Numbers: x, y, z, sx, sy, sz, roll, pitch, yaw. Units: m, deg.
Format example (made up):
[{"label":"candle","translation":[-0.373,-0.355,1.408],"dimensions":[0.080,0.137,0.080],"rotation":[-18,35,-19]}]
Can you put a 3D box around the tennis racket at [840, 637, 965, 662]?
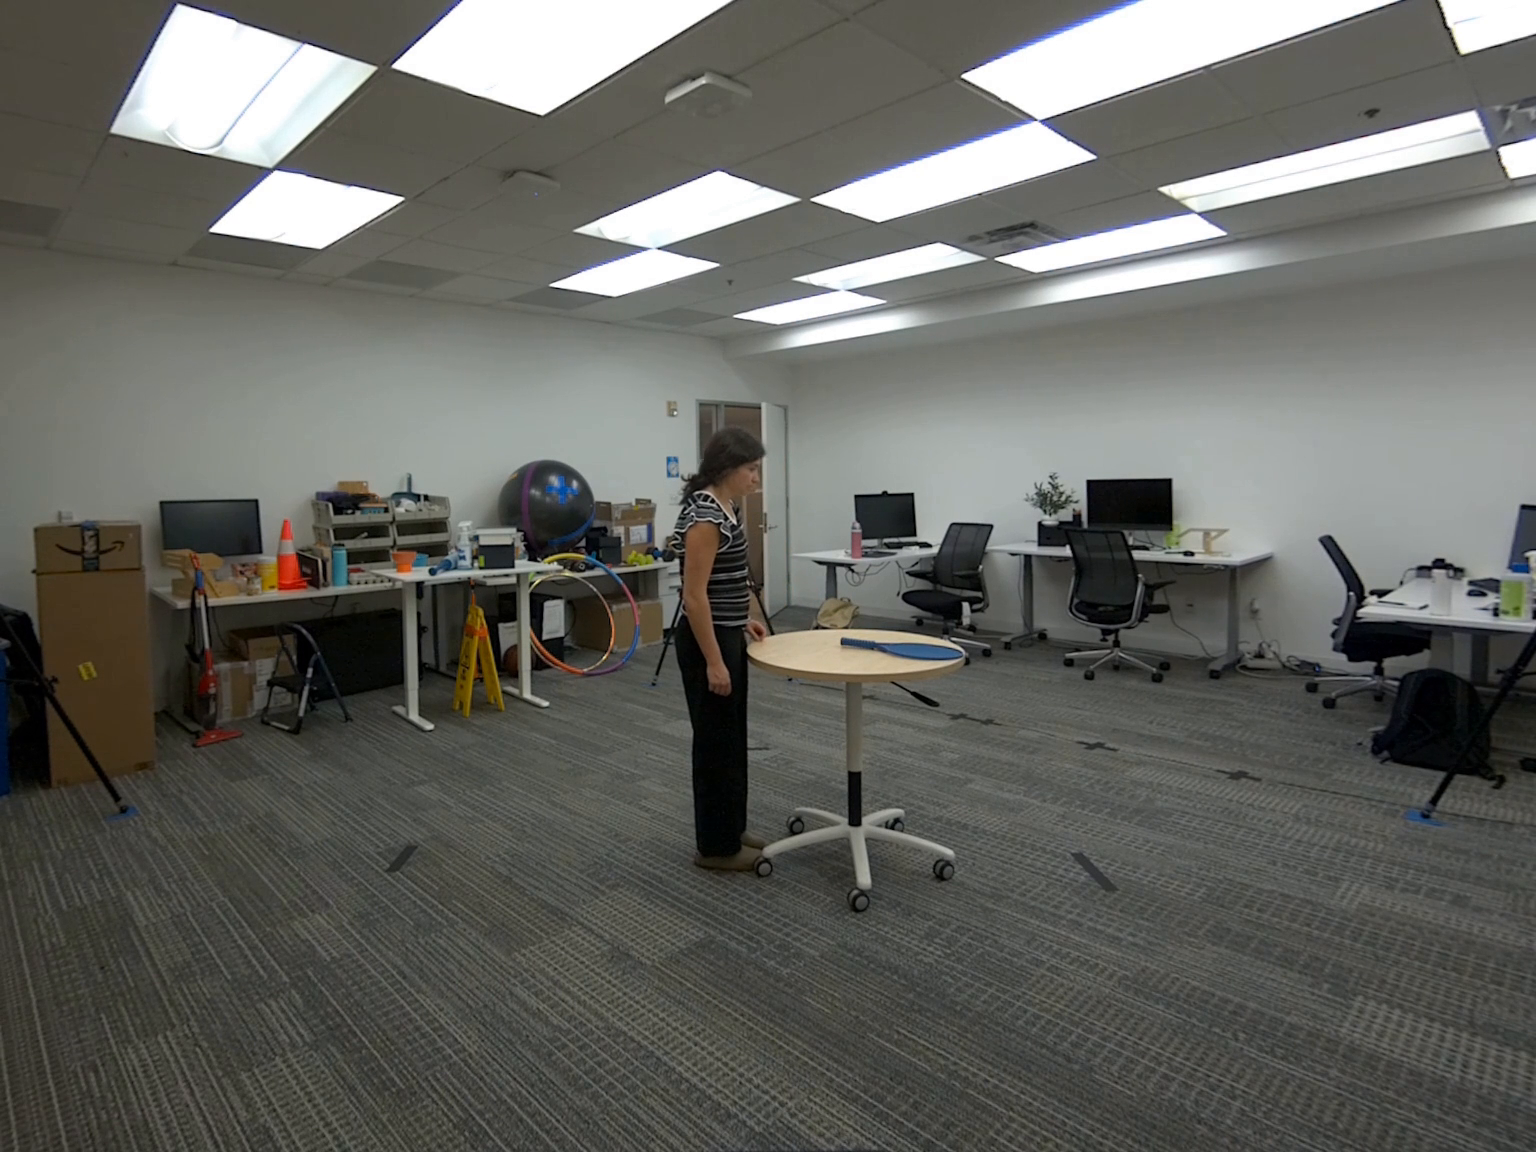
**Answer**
[{"label":"tennis racket","translation":[0.467,0.255,2.993],"dimensions":[0.443,0.031,0.210],"rotation":[4,7,23]}]
